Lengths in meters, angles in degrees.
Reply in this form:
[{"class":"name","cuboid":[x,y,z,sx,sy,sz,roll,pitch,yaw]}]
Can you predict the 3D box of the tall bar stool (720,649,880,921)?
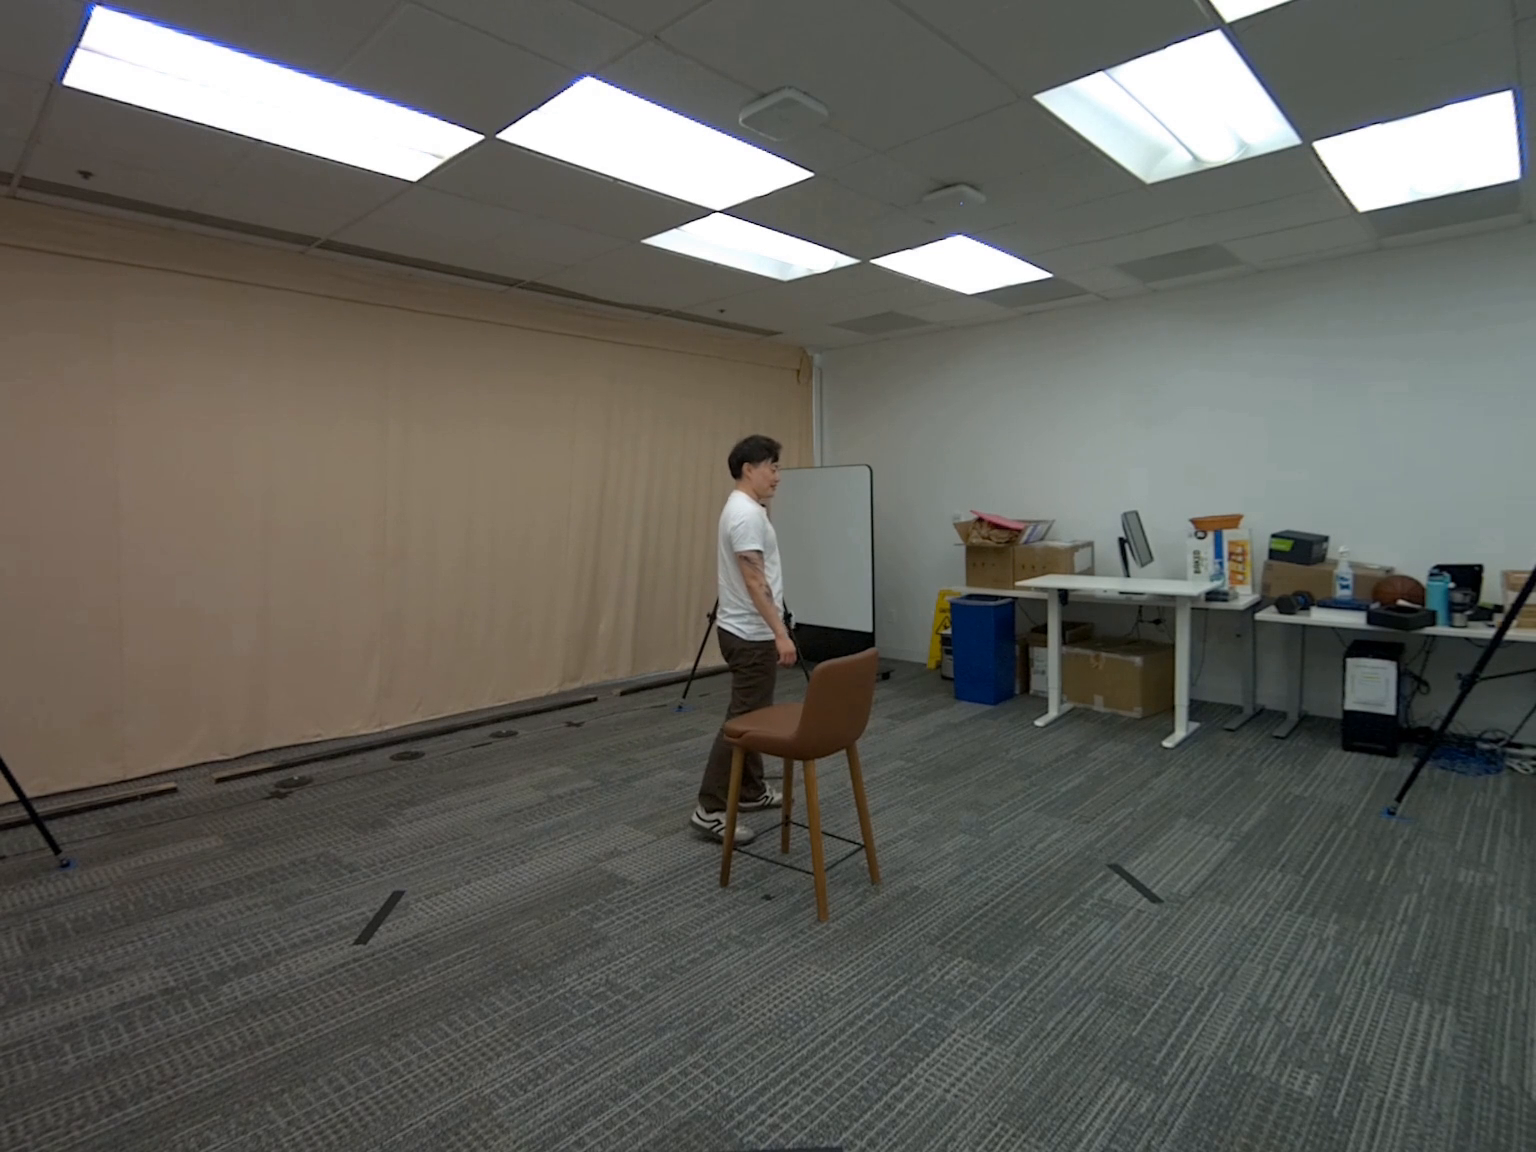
[{"class":"tall bar stool","cuboid":[0.124,0.694,3.057,0.483,0.887,0.443,5,6,39]}]
